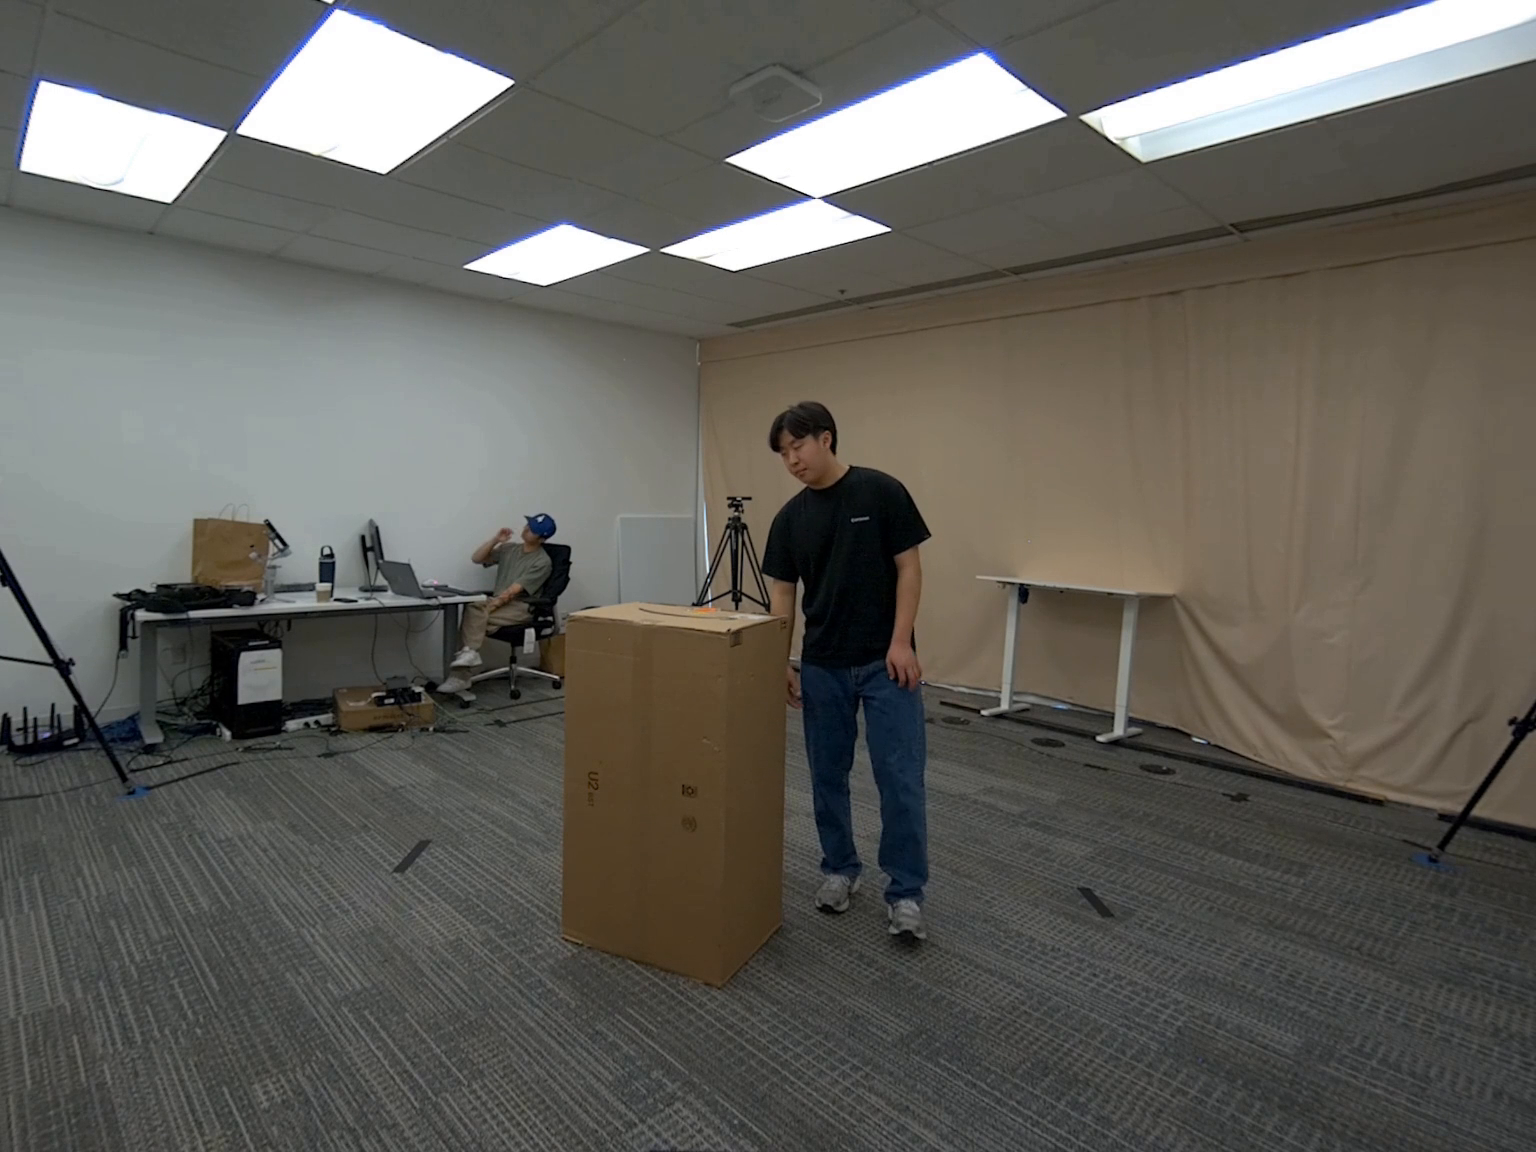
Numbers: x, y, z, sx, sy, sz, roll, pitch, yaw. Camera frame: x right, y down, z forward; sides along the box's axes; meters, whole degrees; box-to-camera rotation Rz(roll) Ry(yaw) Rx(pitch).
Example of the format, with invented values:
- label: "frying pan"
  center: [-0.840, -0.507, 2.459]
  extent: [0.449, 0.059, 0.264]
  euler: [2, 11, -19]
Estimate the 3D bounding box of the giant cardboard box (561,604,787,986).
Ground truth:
- label: "giant cardboard box"
  center: [-0.296, 0.630, 2.676]
  extent: [0.596, 1.025, 0.438]
  euler: [3, 2, 28]
